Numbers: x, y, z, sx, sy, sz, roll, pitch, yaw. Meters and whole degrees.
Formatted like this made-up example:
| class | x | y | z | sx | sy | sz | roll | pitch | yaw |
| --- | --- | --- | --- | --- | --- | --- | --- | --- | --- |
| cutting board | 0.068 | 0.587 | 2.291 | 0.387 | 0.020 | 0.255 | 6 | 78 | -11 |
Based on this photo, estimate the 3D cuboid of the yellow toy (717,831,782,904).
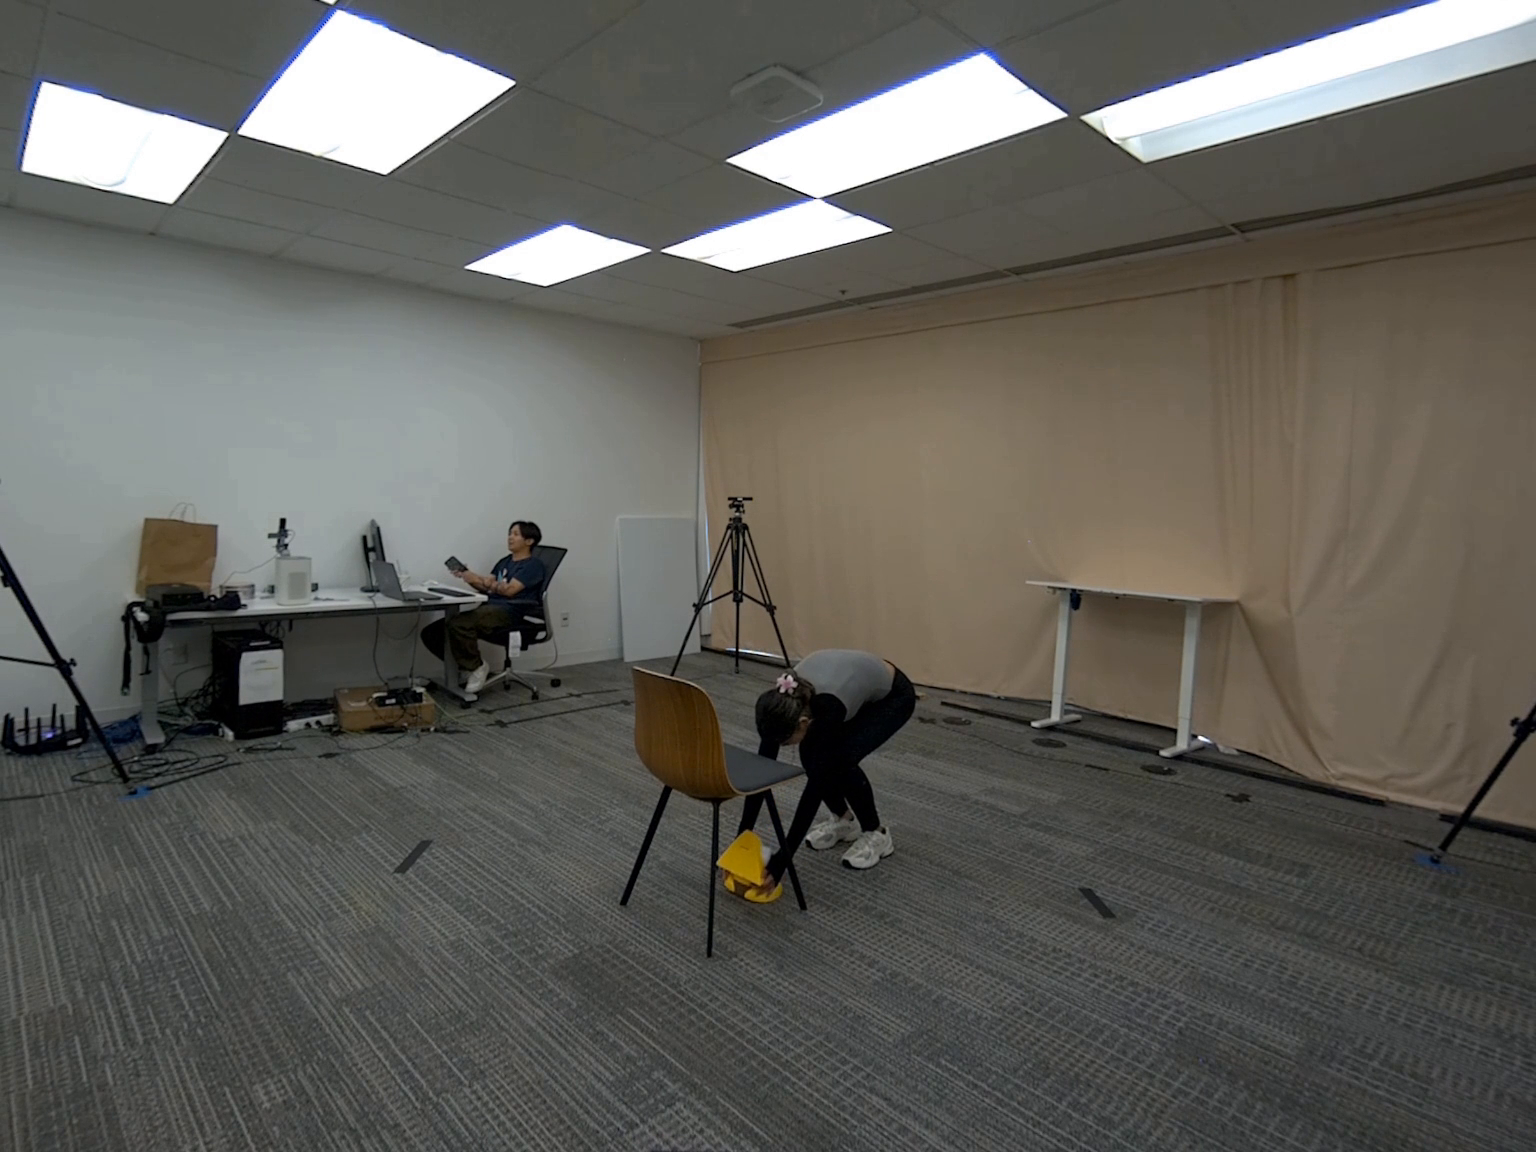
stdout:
| class | x | y | z | sx | sy | sz | roll | pitch | yaw |
| --- | --- | --- | --- | --- | --- | --- | --- | --- | --- |
| yellow toy | -0.051 | 1.004 | 2.986 | 0.210 | 0.230 | 0.188 | 8 | 4 | 38 |
